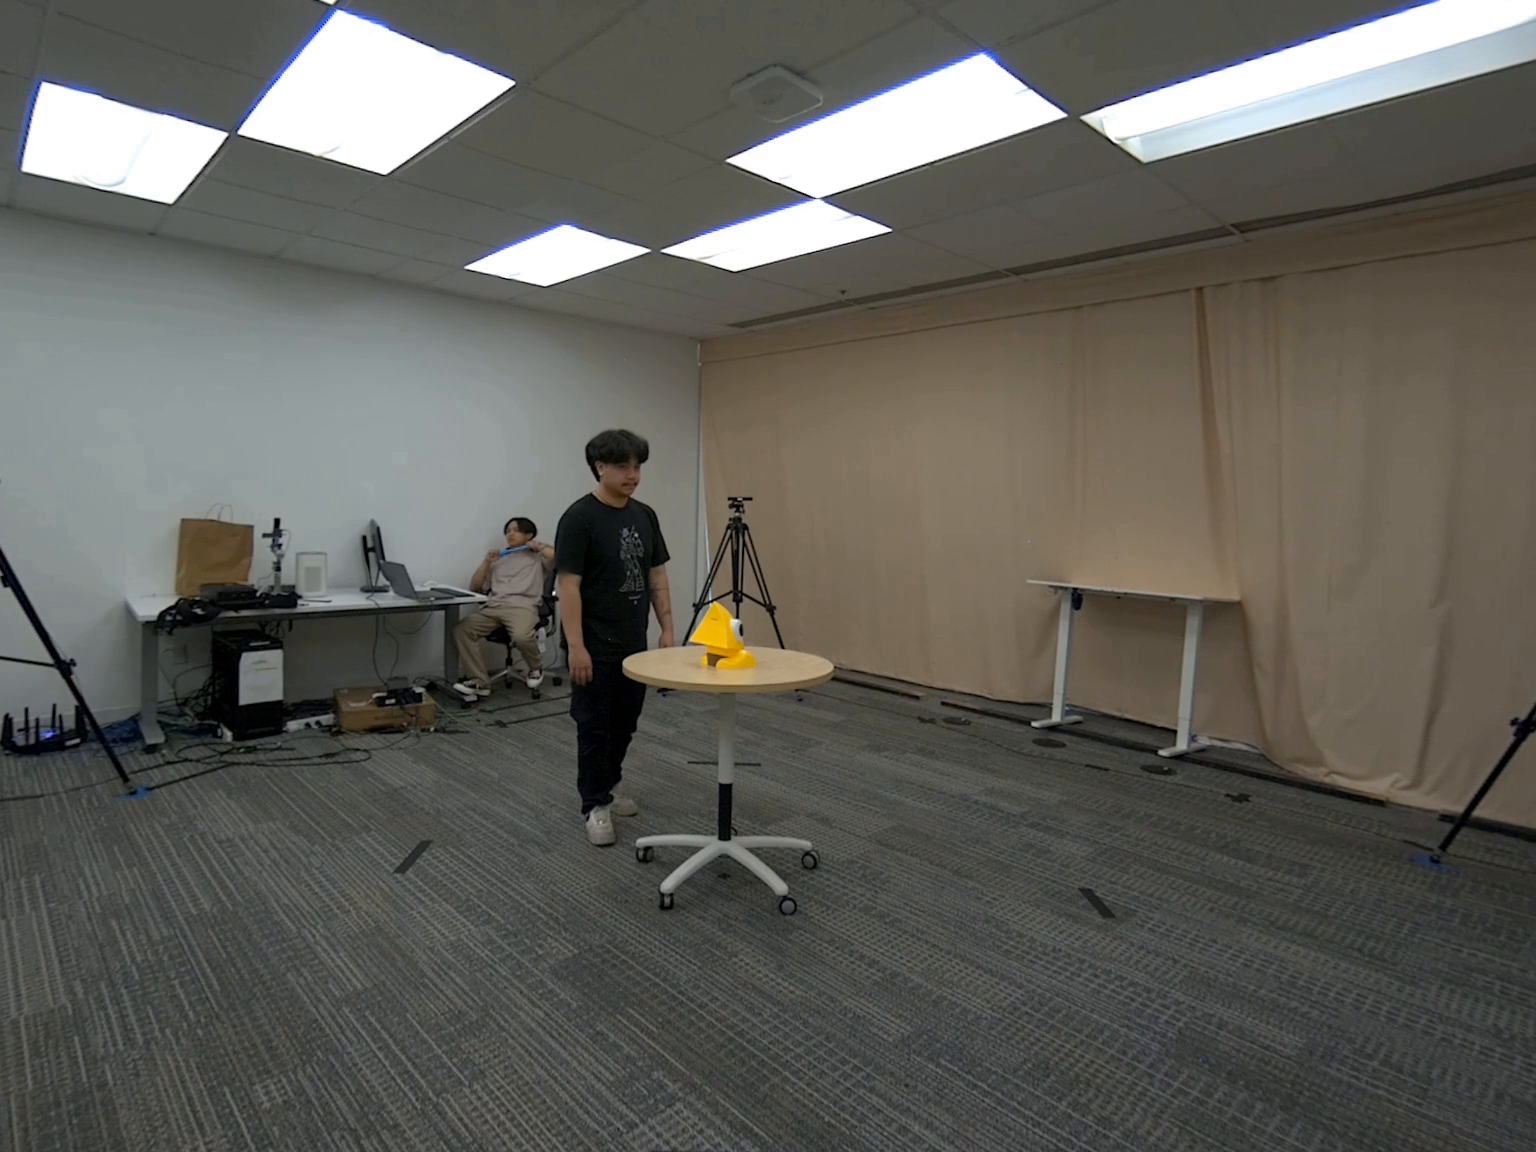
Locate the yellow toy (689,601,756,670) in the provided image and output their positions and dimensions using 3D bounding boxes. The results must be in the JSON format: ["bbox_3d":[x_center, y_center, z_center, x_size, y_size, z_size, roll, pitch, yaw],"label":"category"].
[{"bbox_3d":[-0.156,0.207,3.043,0.188,0.230,0.210,-2,4,-44],"label":"yellow toy"}]
